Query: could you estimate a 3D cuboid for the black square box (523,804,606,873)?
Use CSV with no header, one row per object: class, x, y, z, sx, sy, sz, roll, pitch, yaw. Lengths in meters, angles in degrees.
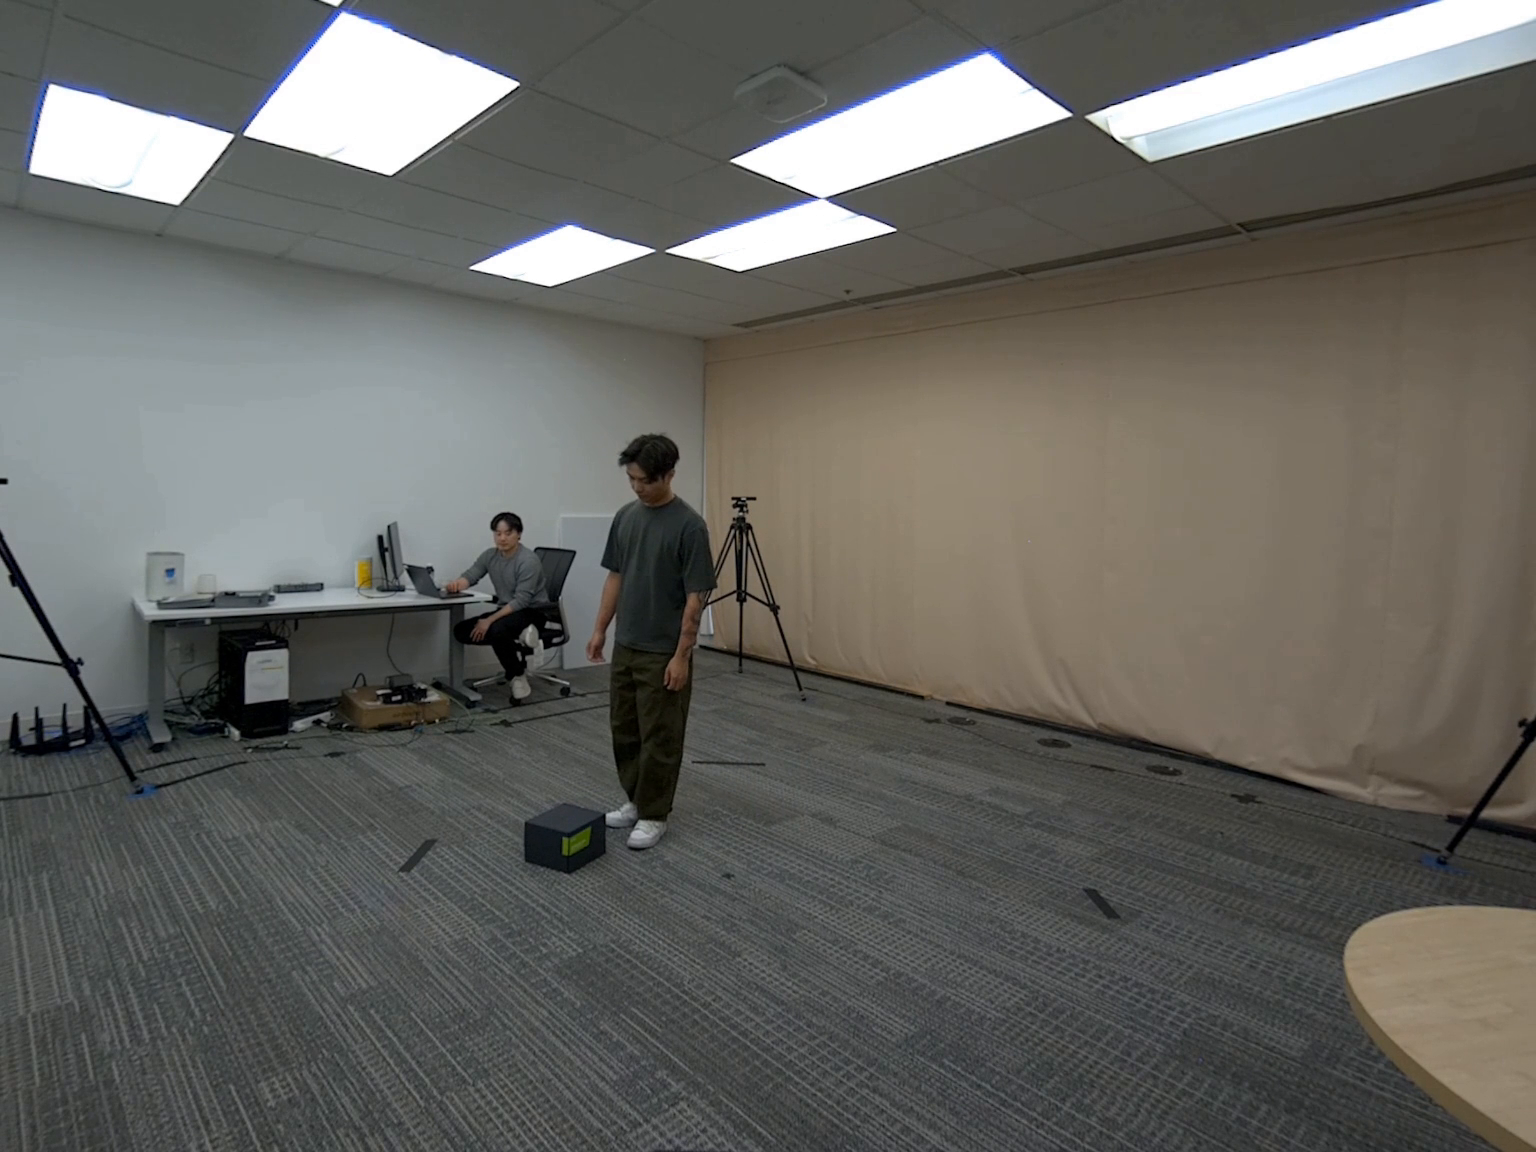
black square box,-0.780,0.997,3.224,0.221,0.155,0.224,4,5,27
